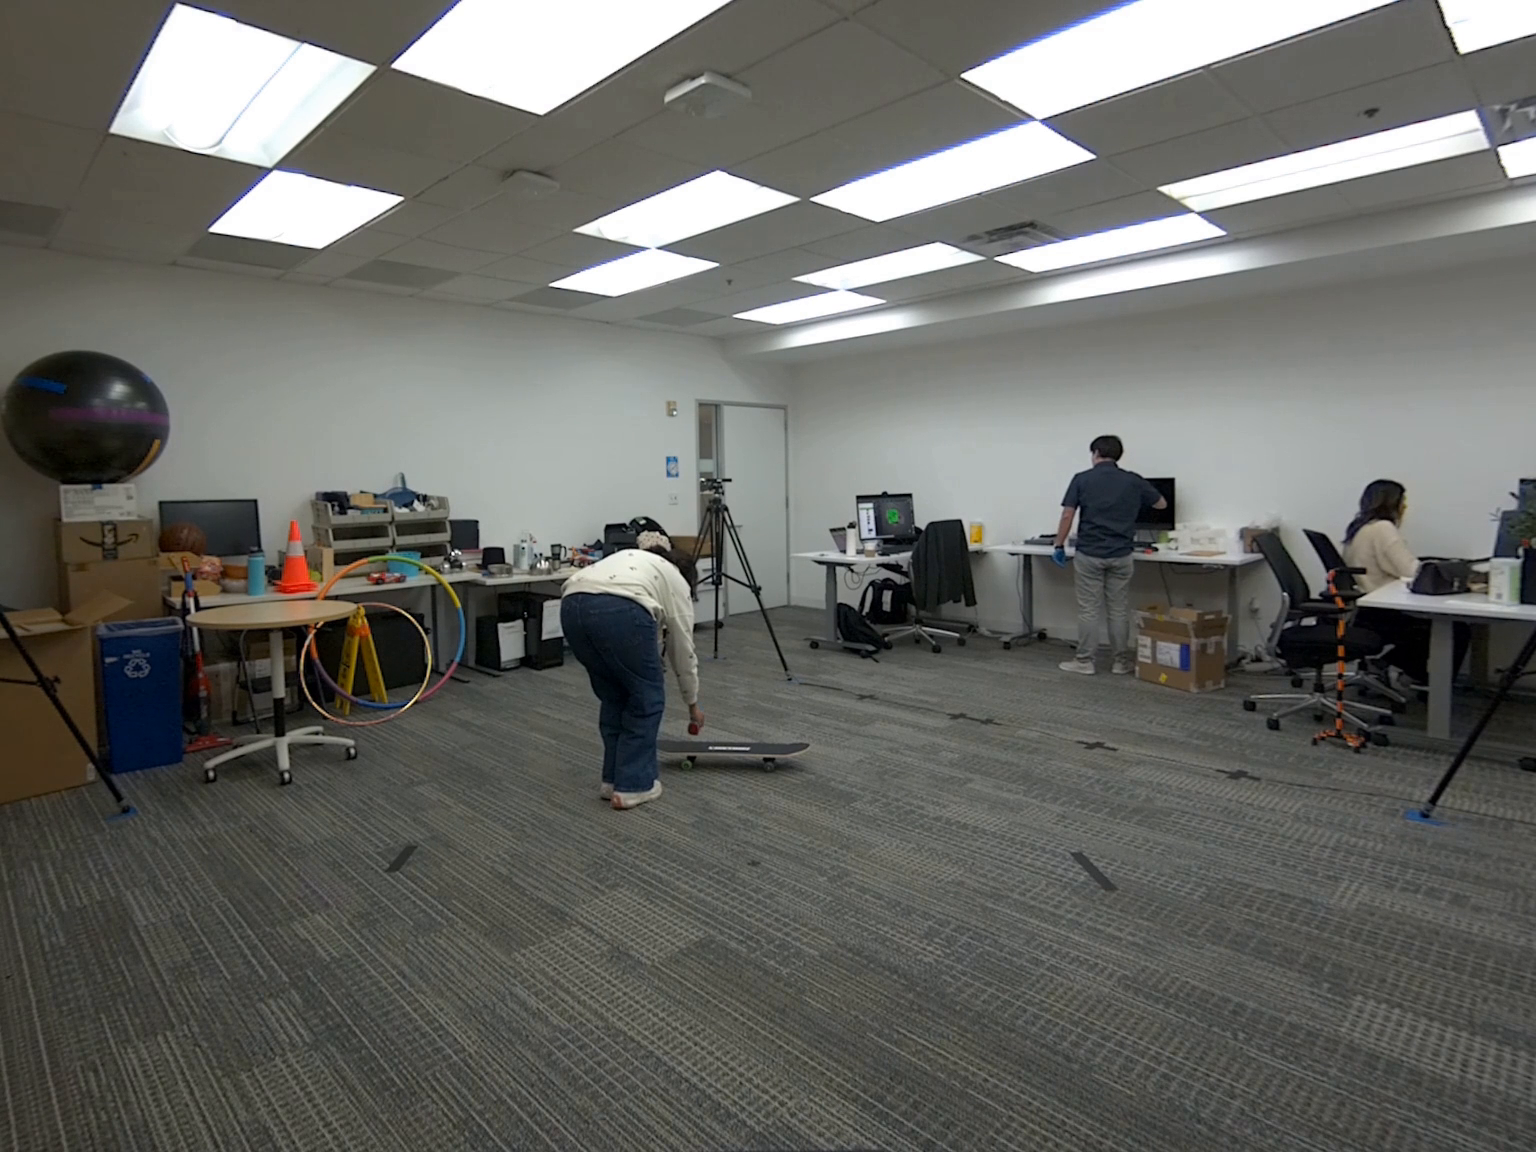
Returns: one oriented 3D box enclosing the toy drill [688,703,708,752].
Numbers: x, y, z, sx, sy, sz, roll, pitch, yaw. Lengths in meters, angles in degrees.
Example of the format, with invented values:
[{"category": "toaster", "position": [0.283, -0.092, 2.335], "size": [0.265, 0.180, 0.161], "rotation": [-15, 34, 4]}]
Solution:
[{"category": "toy drill", "position": [-0.343, 0.732, 4.162], "size": [0.062, 0.166, 0.147], "rotation": [4, 23, 7]}]
